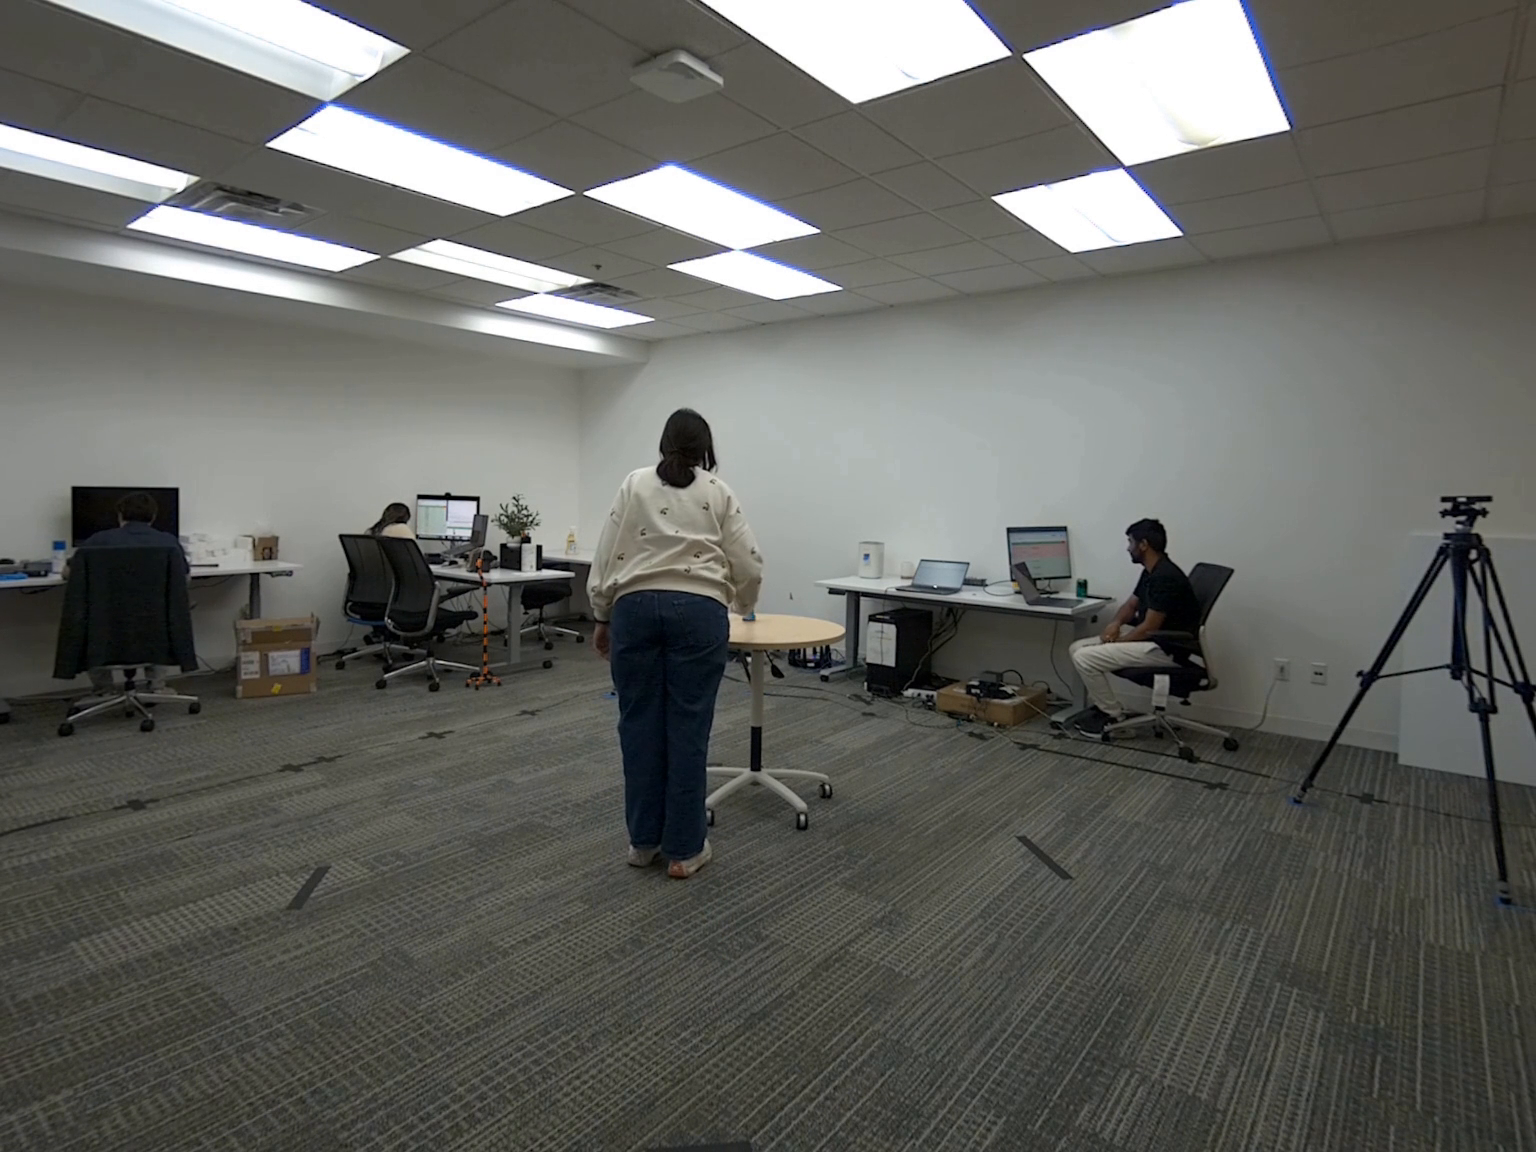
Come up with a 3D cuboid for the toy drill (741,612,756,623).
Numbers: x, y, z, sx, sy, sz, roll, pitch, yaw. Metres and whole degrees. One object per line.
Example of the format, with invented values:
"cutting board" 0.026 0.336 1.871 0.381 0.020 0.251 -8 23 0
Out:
"toy drill" -0.106 0.132 3.910 0.062 0.146 0.166 1 4 22
